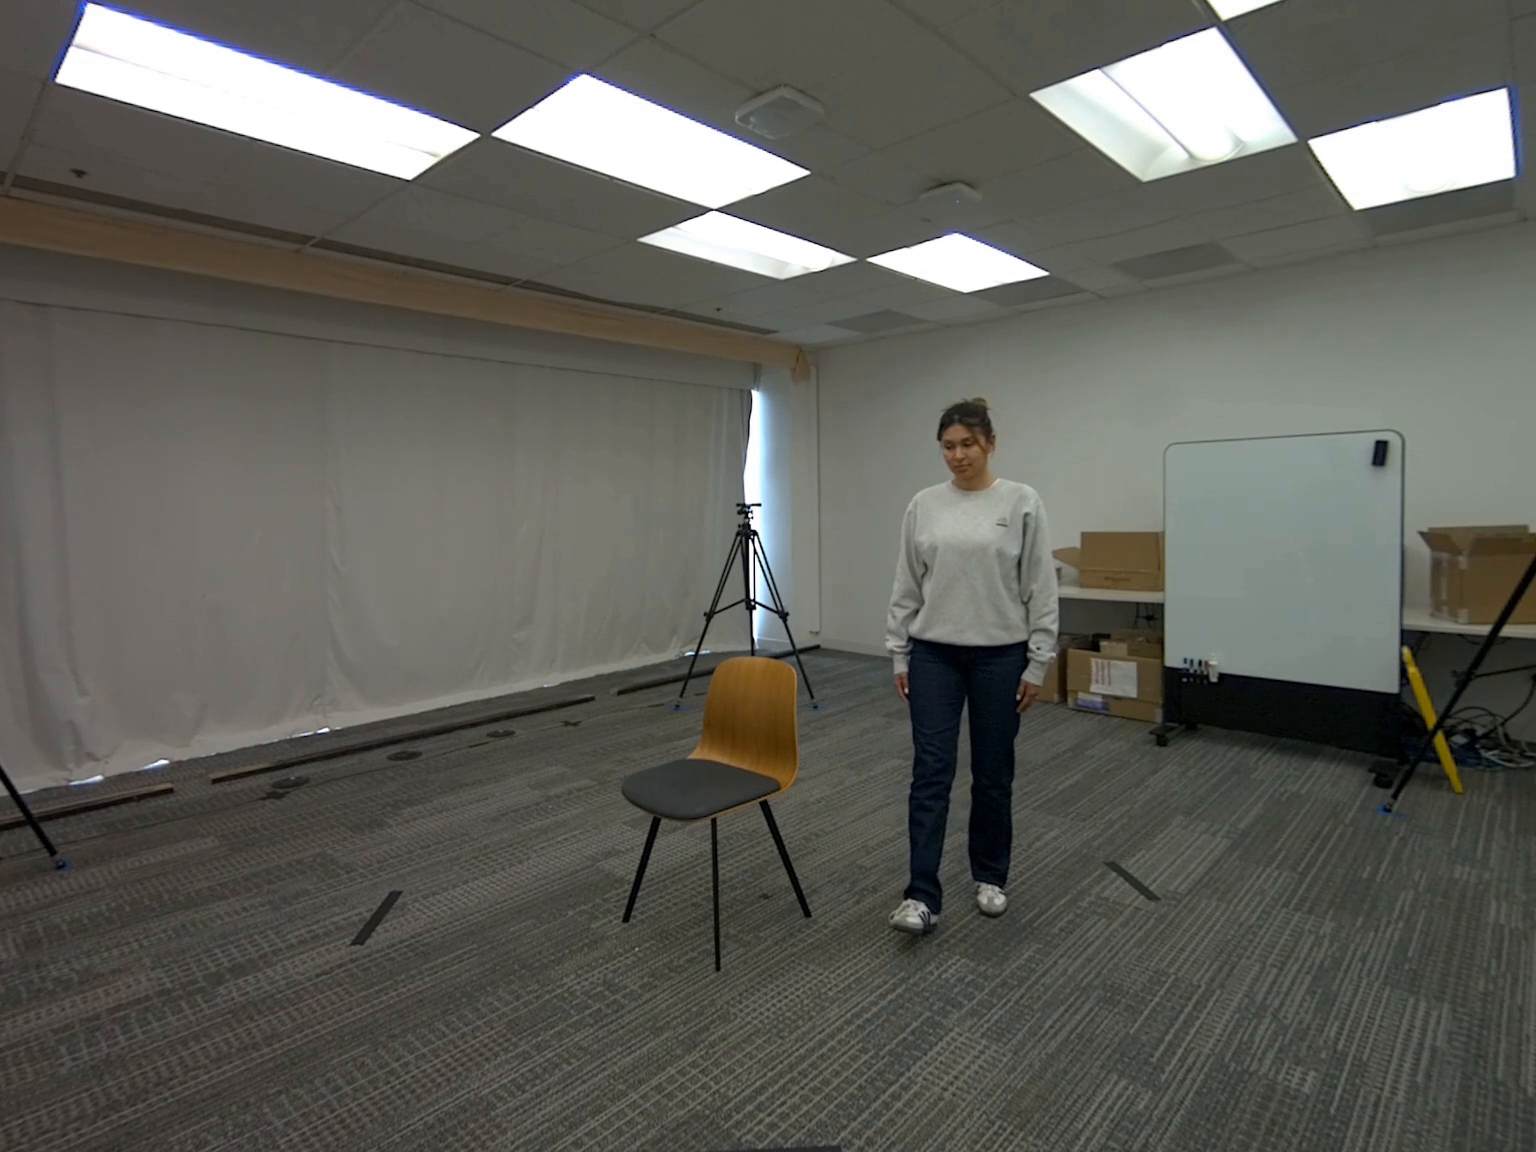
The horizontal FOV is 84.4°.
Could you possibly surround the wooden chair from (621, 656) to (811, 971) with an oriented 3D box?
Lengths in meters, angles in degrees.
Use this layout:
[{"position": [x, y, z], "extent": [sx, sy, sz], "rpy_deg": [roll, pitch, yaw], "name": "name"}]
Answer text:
[{"position": [-0.179, 0.731, 2.794], "extent": [0.494, 0.877, 0.506], "rpy_deg": [2, 0, 42], "name": "wooden chair"}]
